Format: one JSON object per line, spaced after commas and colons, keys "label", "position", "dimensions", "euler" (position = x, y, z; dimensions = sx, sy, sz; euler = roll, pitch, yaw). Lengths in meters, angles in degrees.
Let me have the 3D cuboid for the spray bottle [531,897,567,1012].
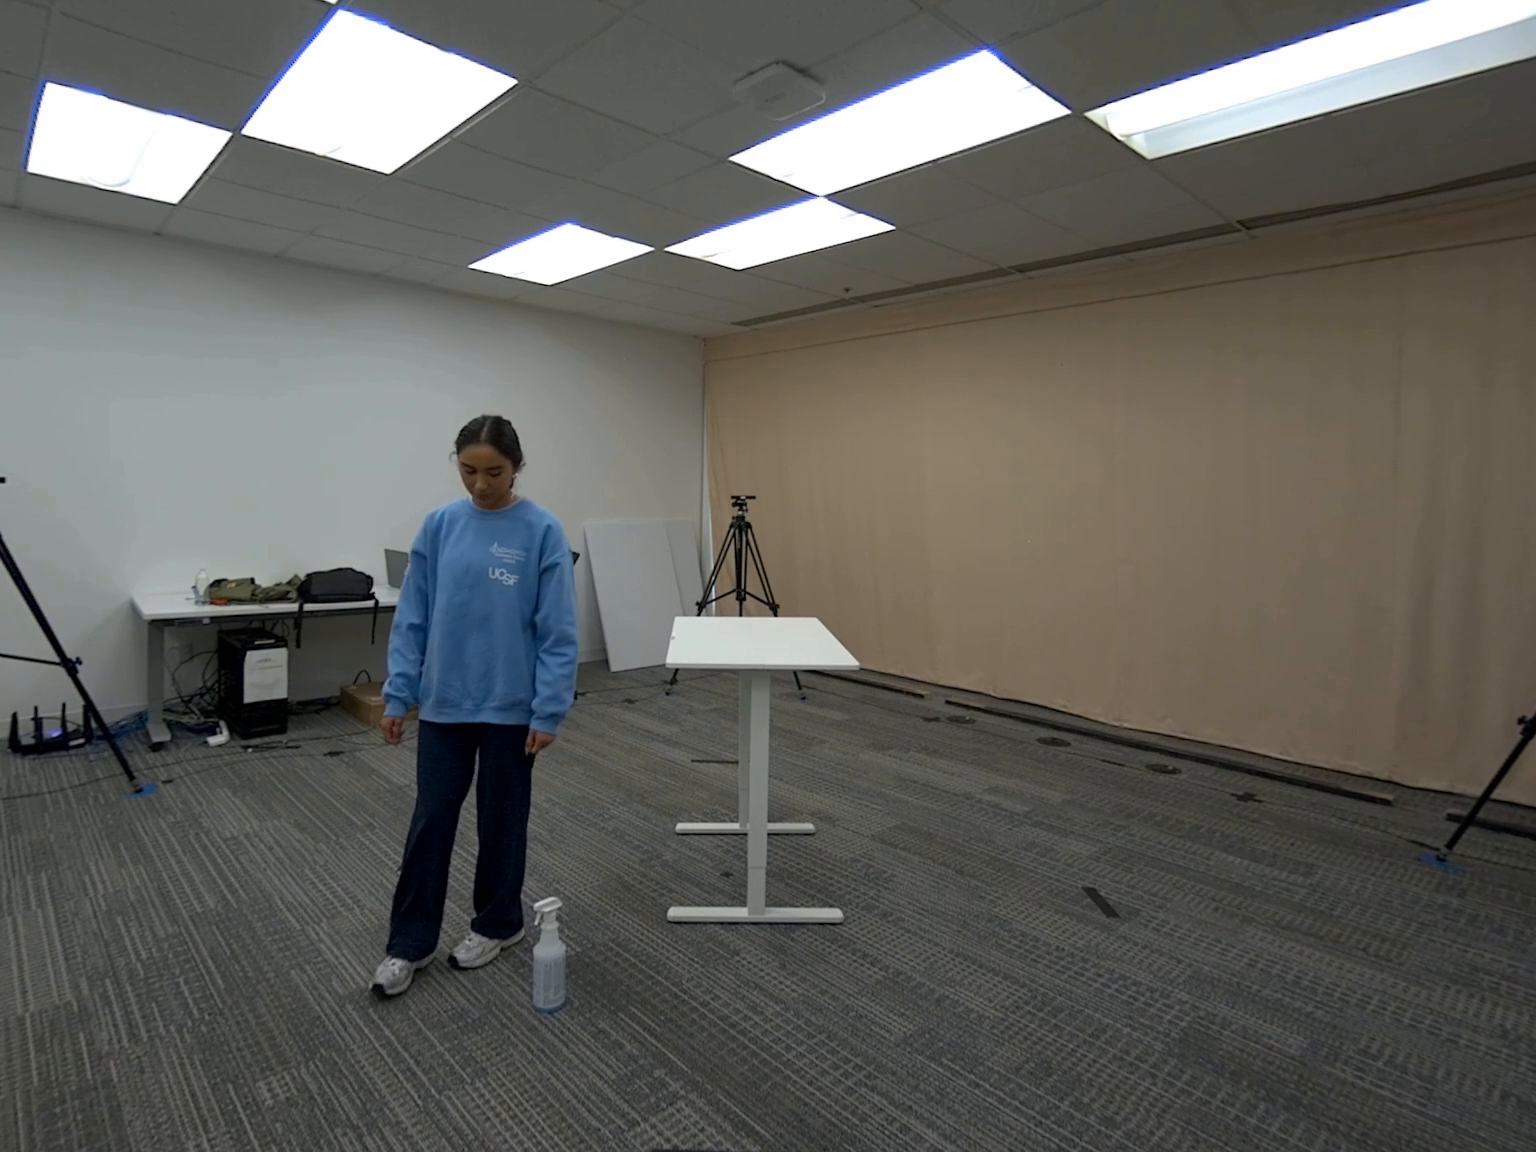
{"label": "spray bottle", "position": [-0.600, 1.028, 2.272], "dimensions": [0.088, 0.296, 0.089], "euler": [0, 5, -25]}
